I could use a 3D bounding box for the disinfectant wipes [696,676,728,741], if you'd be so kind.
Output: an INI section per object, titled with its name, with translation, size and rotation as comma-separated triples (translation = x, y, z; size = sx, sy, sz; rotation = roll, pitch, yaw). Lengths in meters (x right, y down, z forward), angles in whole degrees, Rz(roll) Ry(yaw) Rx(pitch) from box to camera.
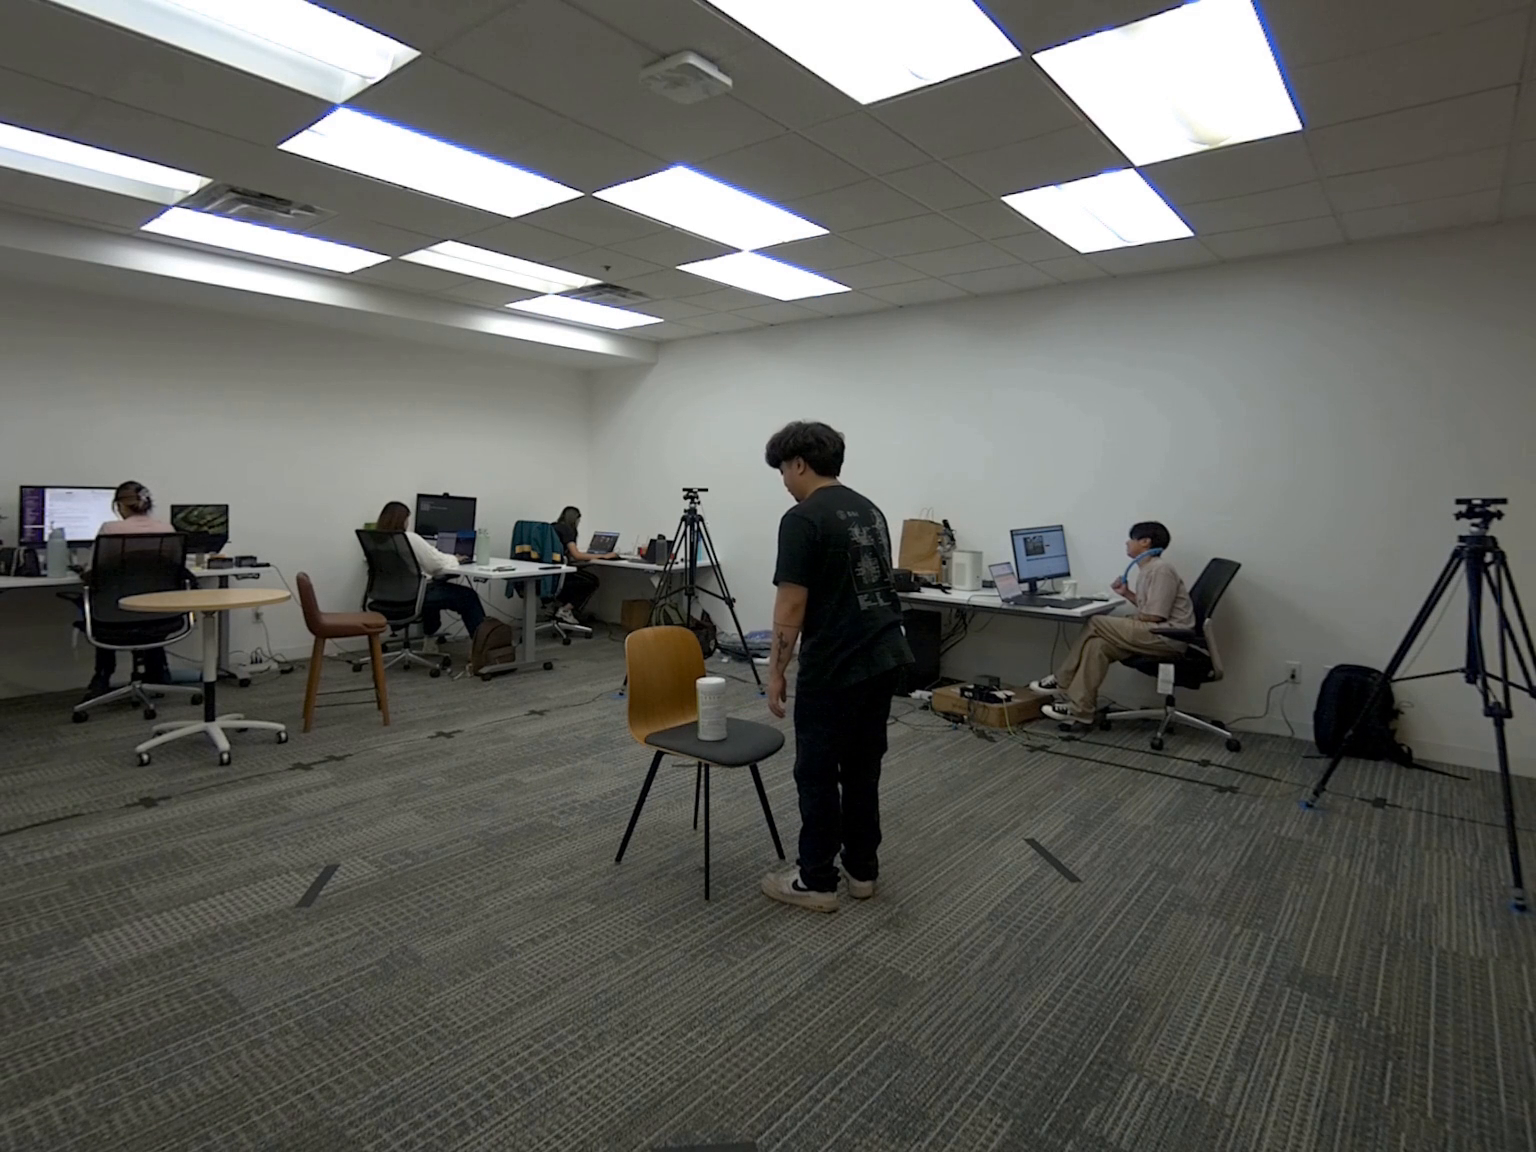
[disinfectant wipes]
translation = -0.218, 0.489, 3.135
size = 0.118, 0.217, 0.118
rotation = -1, 0, -2
